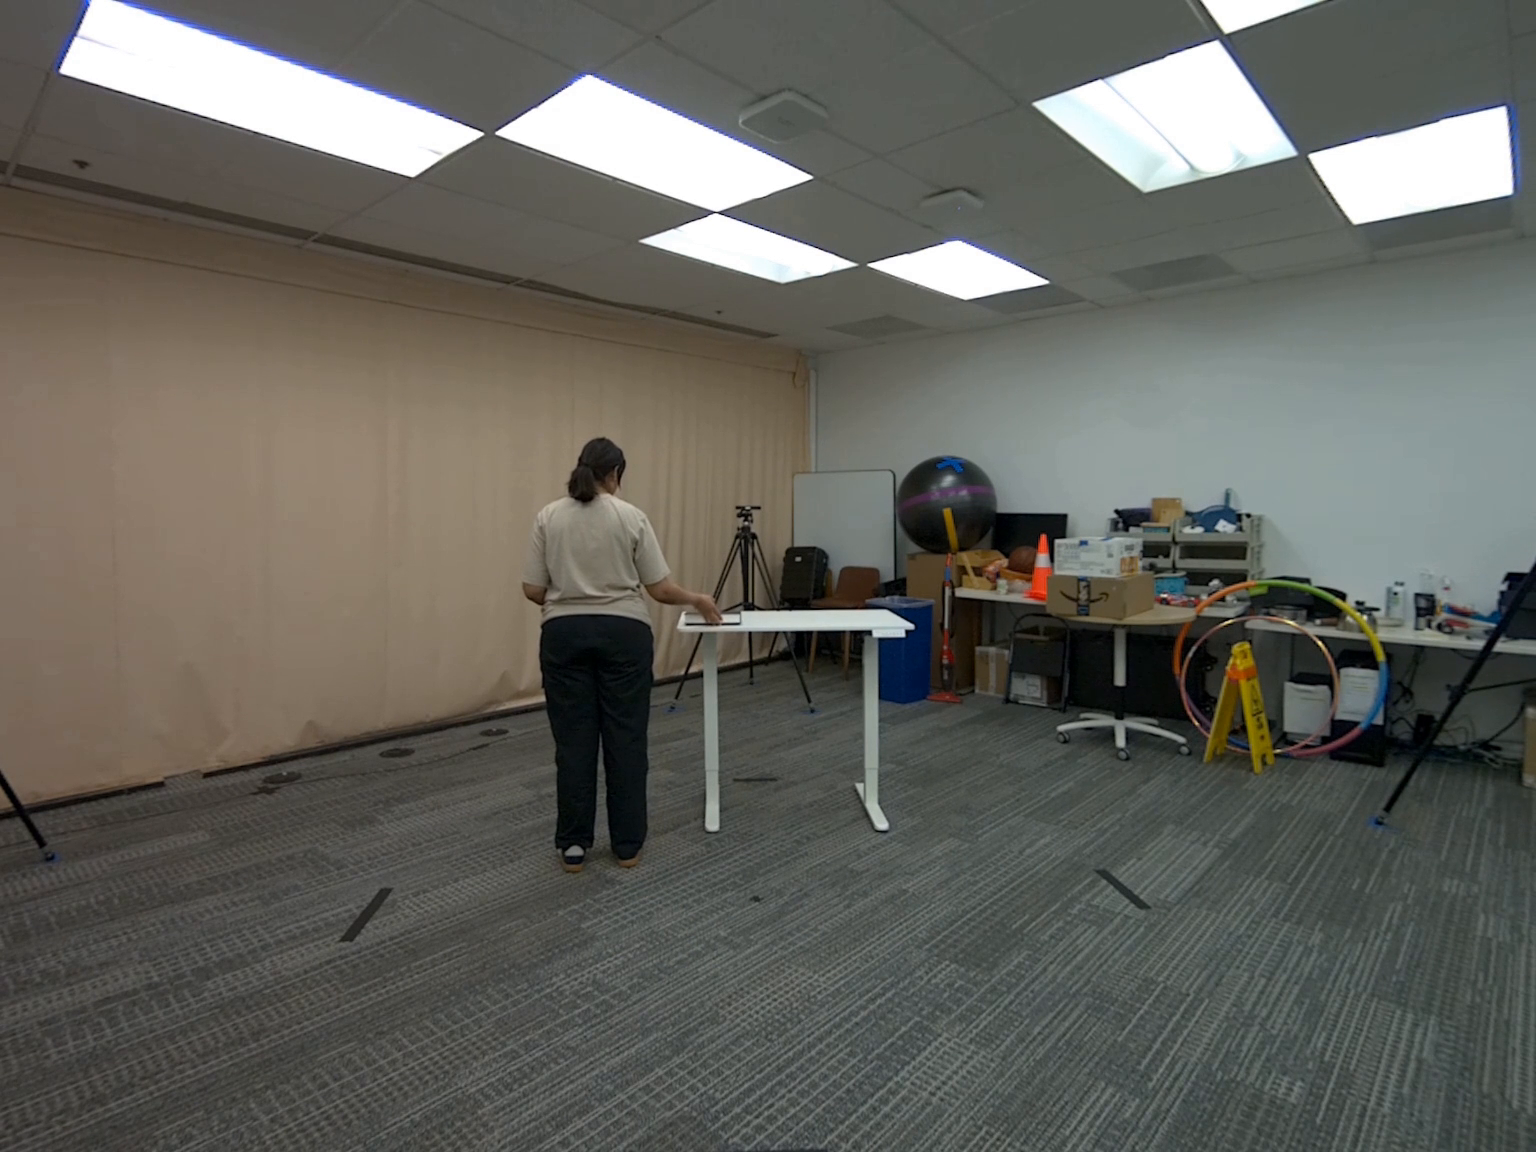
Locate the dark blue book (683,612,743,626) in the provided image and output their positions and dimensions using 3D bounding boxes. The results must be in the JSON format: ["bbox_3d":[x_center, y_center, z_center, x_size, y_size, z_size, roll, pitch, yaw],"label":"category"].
[{"bbox_3d":[-0.238,0.186,3.693,0.246,0.045,0.163,0,1,3],"label":"dark blue book"}]
